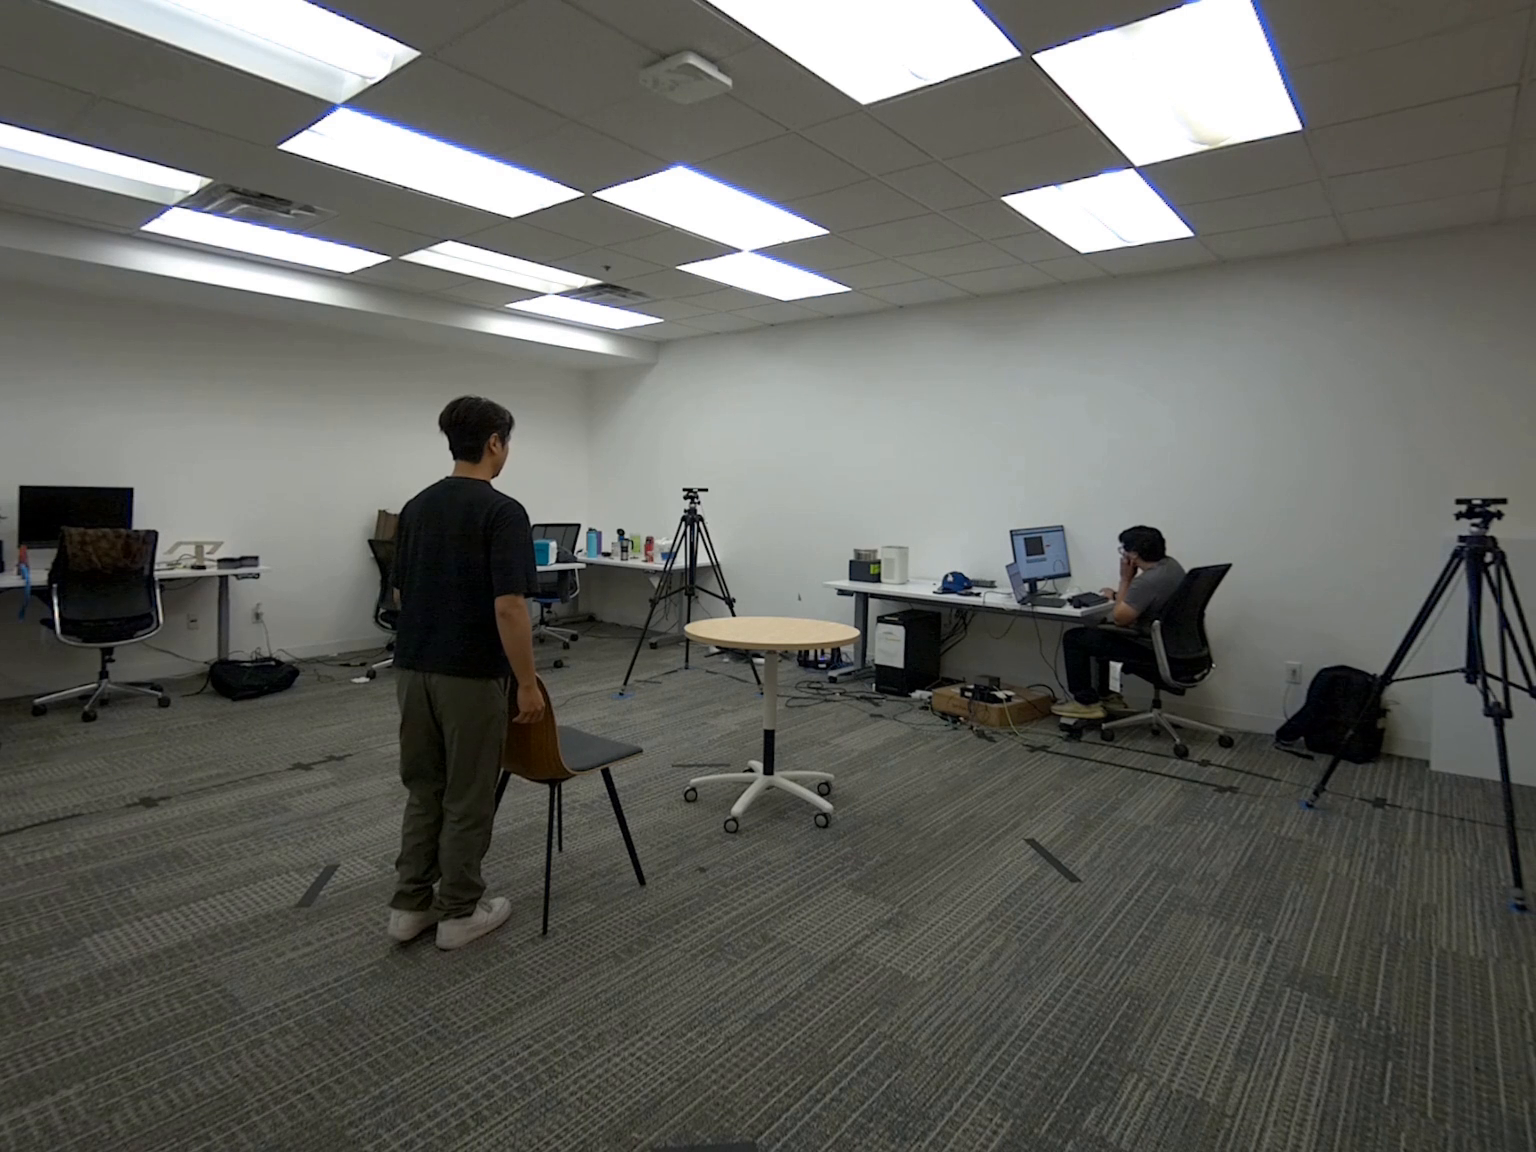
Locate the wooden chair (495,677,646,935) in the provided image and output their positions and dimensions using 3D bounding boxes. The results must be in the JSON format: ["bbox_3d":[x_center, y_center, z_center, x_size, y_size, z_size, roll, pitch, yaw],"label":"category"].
[{"bbox_3d":[-0.736,0.650,2.921,0.493,0.872,0.510,3,8,37],"label":"wooden chair"}]
